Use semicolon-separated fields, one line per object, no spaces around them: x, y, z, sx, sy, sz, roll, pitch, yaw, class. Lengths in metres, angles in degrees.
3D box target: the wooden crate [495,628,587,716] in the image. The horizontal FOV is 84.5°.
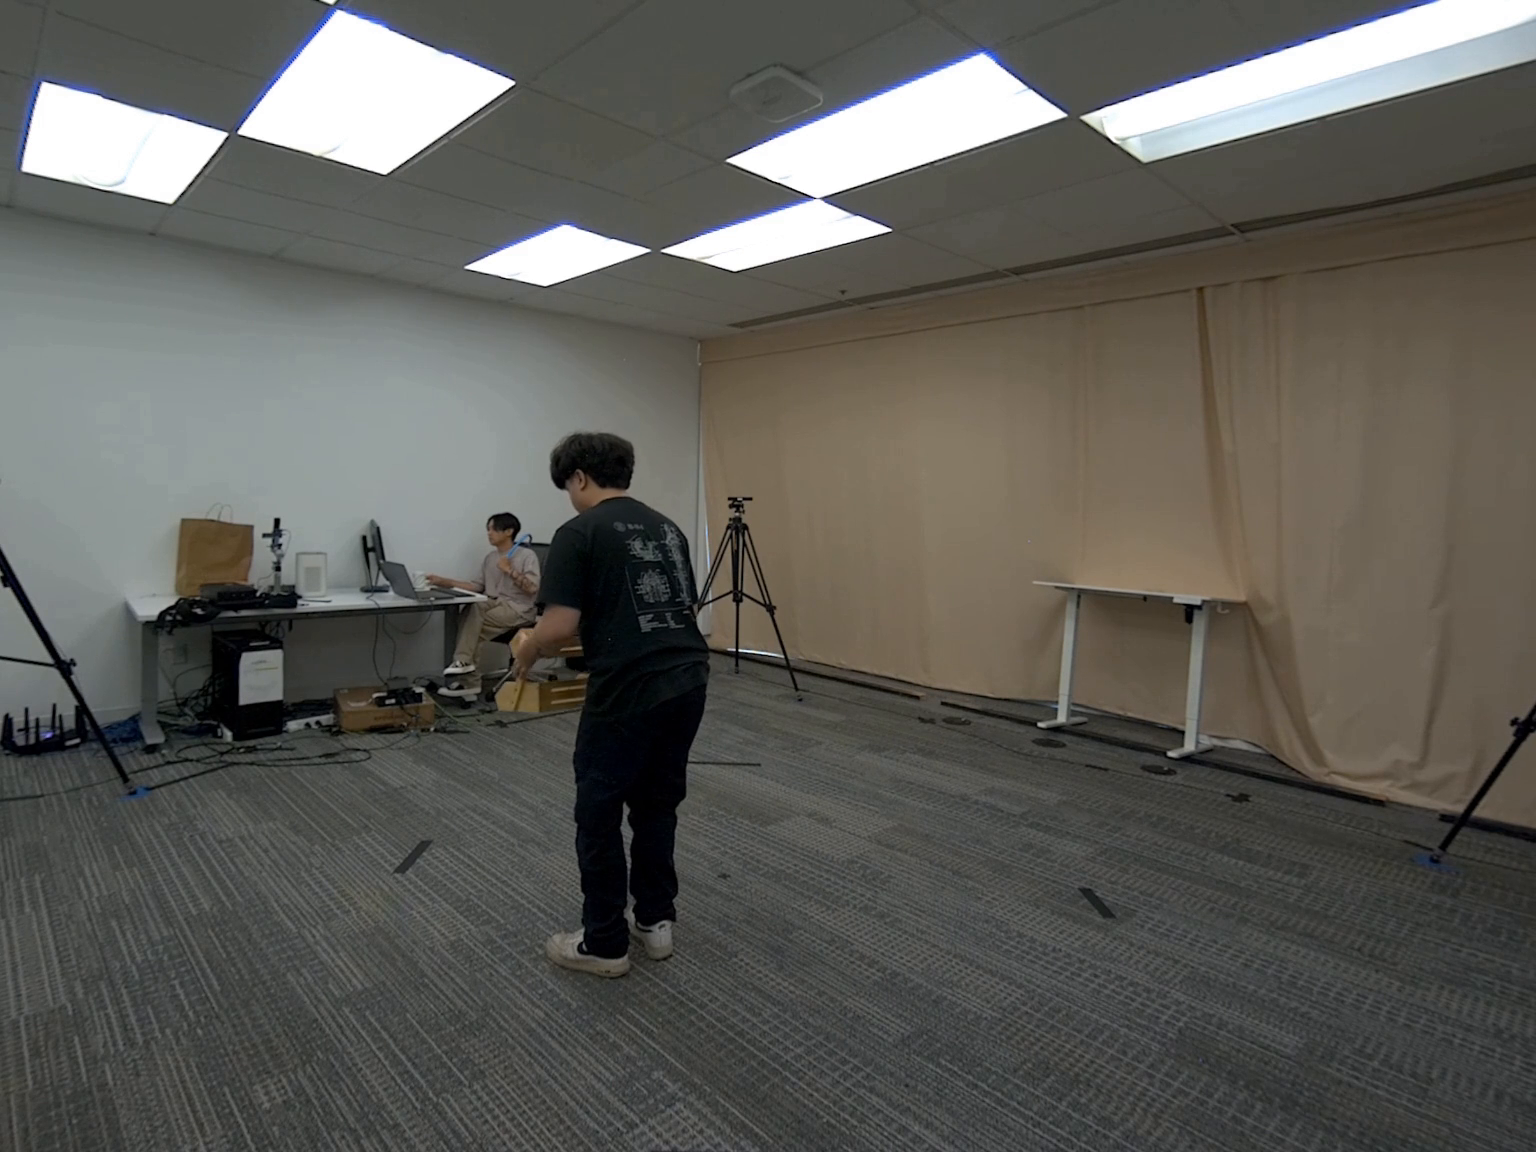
-0.688;0.298;2.777;0.308;0.274;0.317;-5;-3;42;wooden crate
